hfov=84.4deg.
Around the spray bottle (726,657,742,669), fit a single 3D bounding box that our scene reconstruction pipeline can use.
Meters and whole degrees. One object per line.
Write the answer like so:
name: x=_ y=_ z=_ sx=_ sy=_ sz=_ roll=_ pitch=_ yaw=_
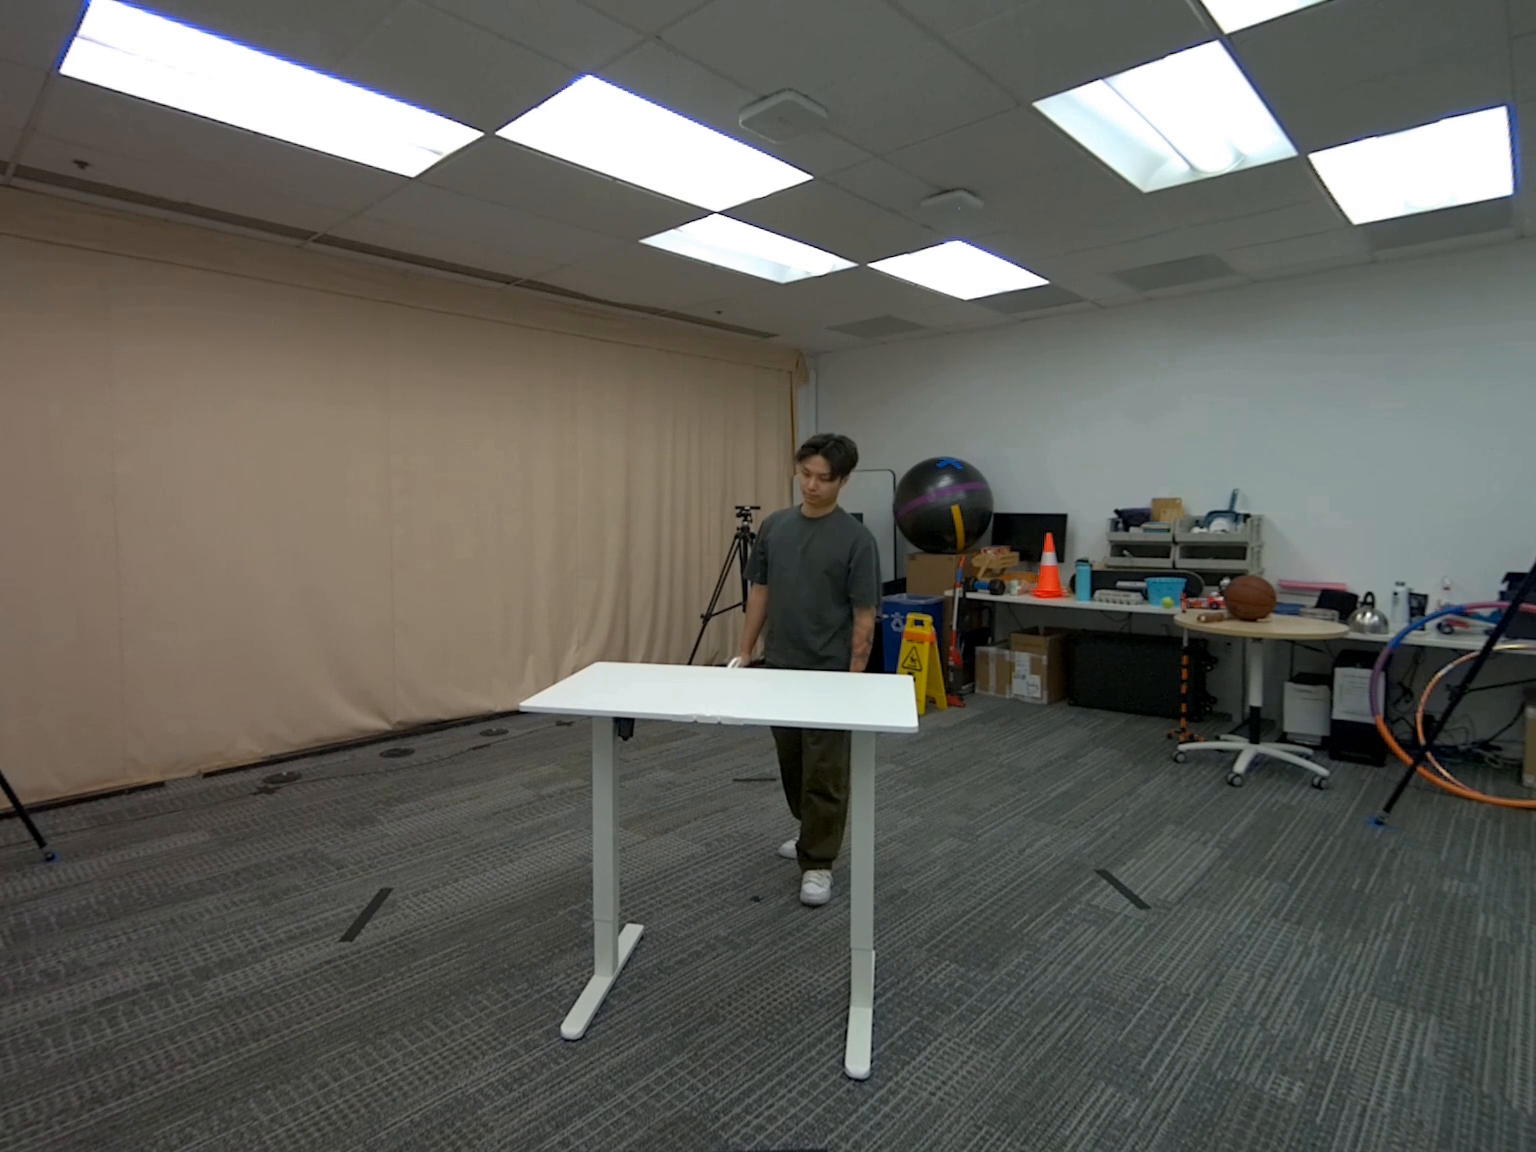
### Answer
spray bottle: x=-0.075 y=0.421 z=3.304 sx=0.090 sy=0.287 sz=0.090 roll=-35 pitch=44 yaw=-1
